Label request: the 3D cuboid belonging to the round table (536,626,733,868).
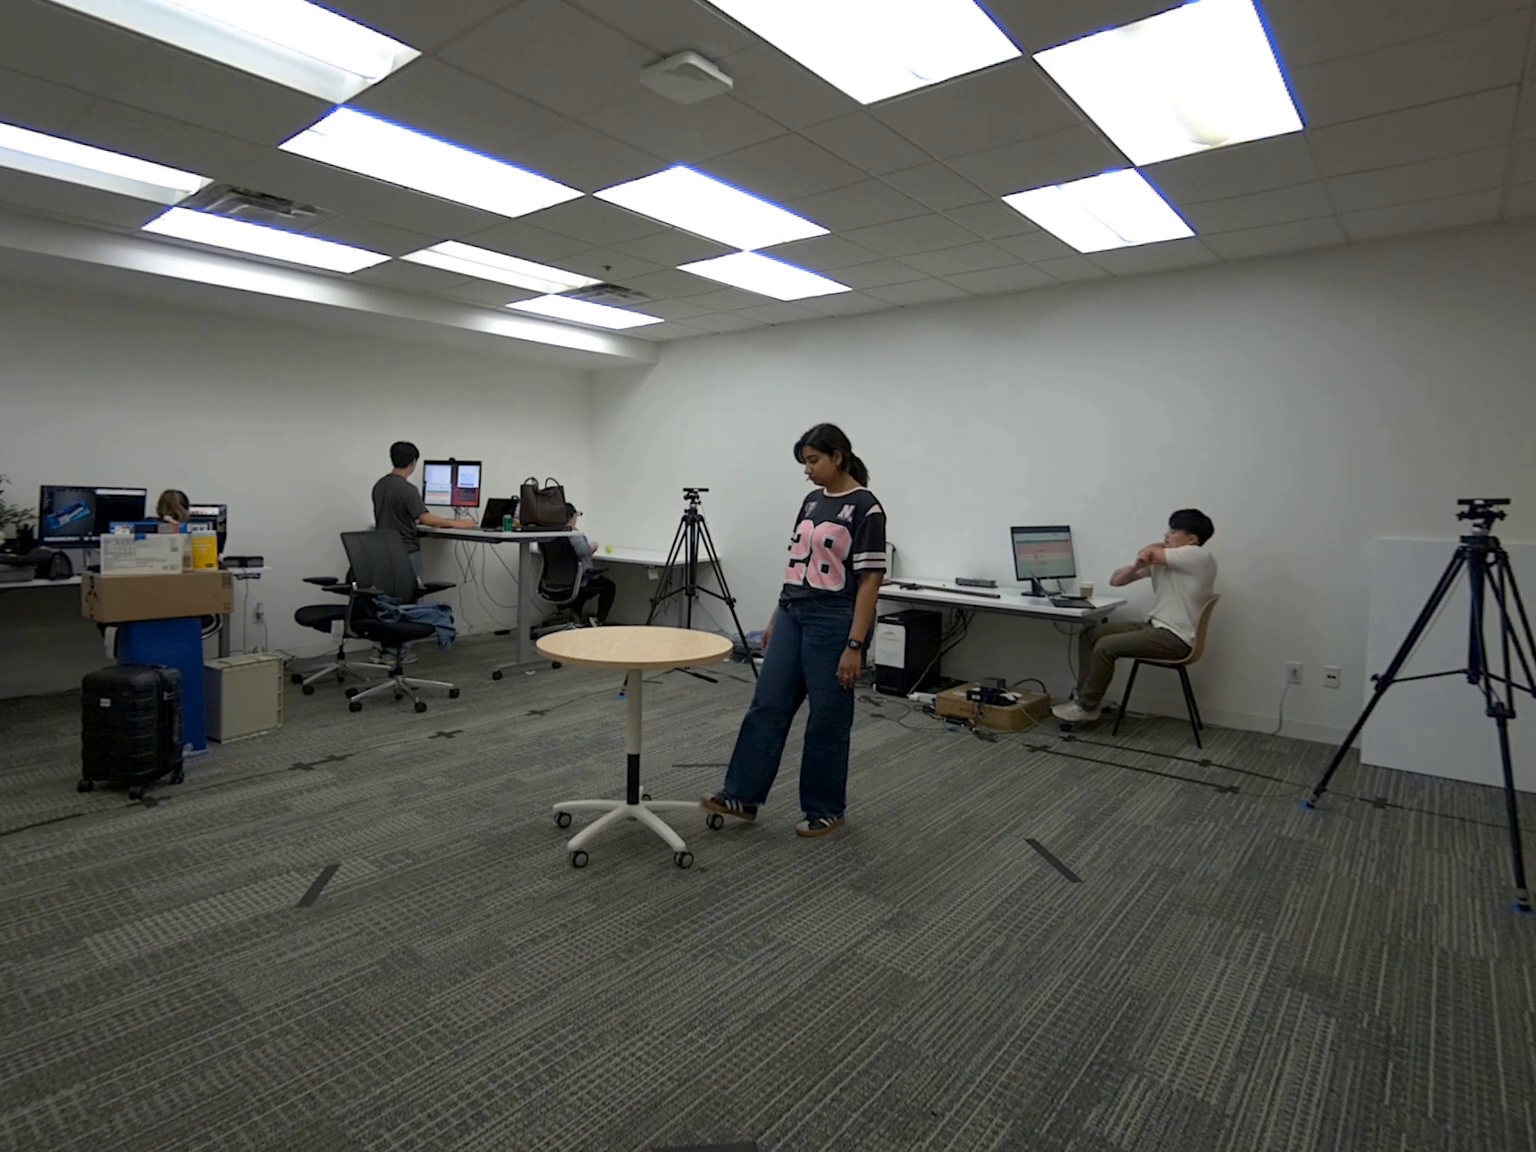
[{"bbox_3d":[-0.544,0.652,3.367,0.763,0.791,0.768,1,4,-2],"label":"round table"}]
